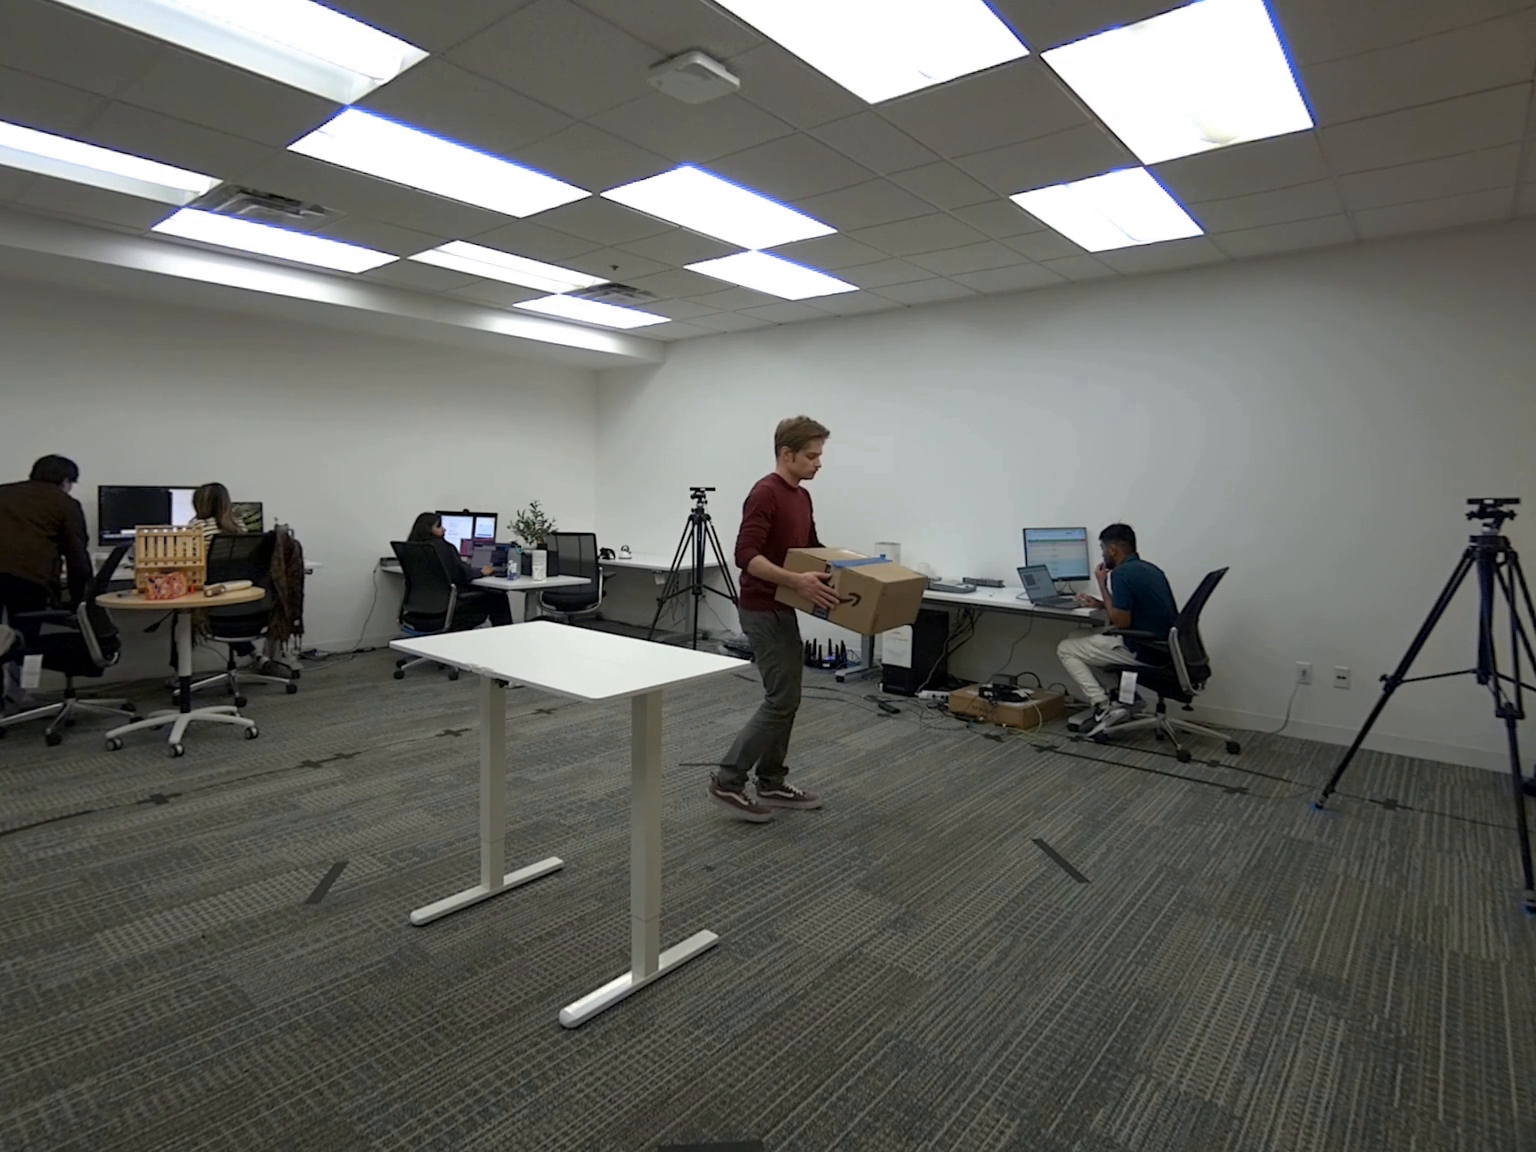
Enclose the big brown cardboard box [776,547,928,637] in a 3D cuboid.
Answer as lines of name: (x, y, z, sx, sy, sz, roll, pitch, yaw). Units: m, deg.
big brown cardboard box: (0.349, 0.045, 3.491, 0.431, 0.232, 0.573, 19, 11, 27)
